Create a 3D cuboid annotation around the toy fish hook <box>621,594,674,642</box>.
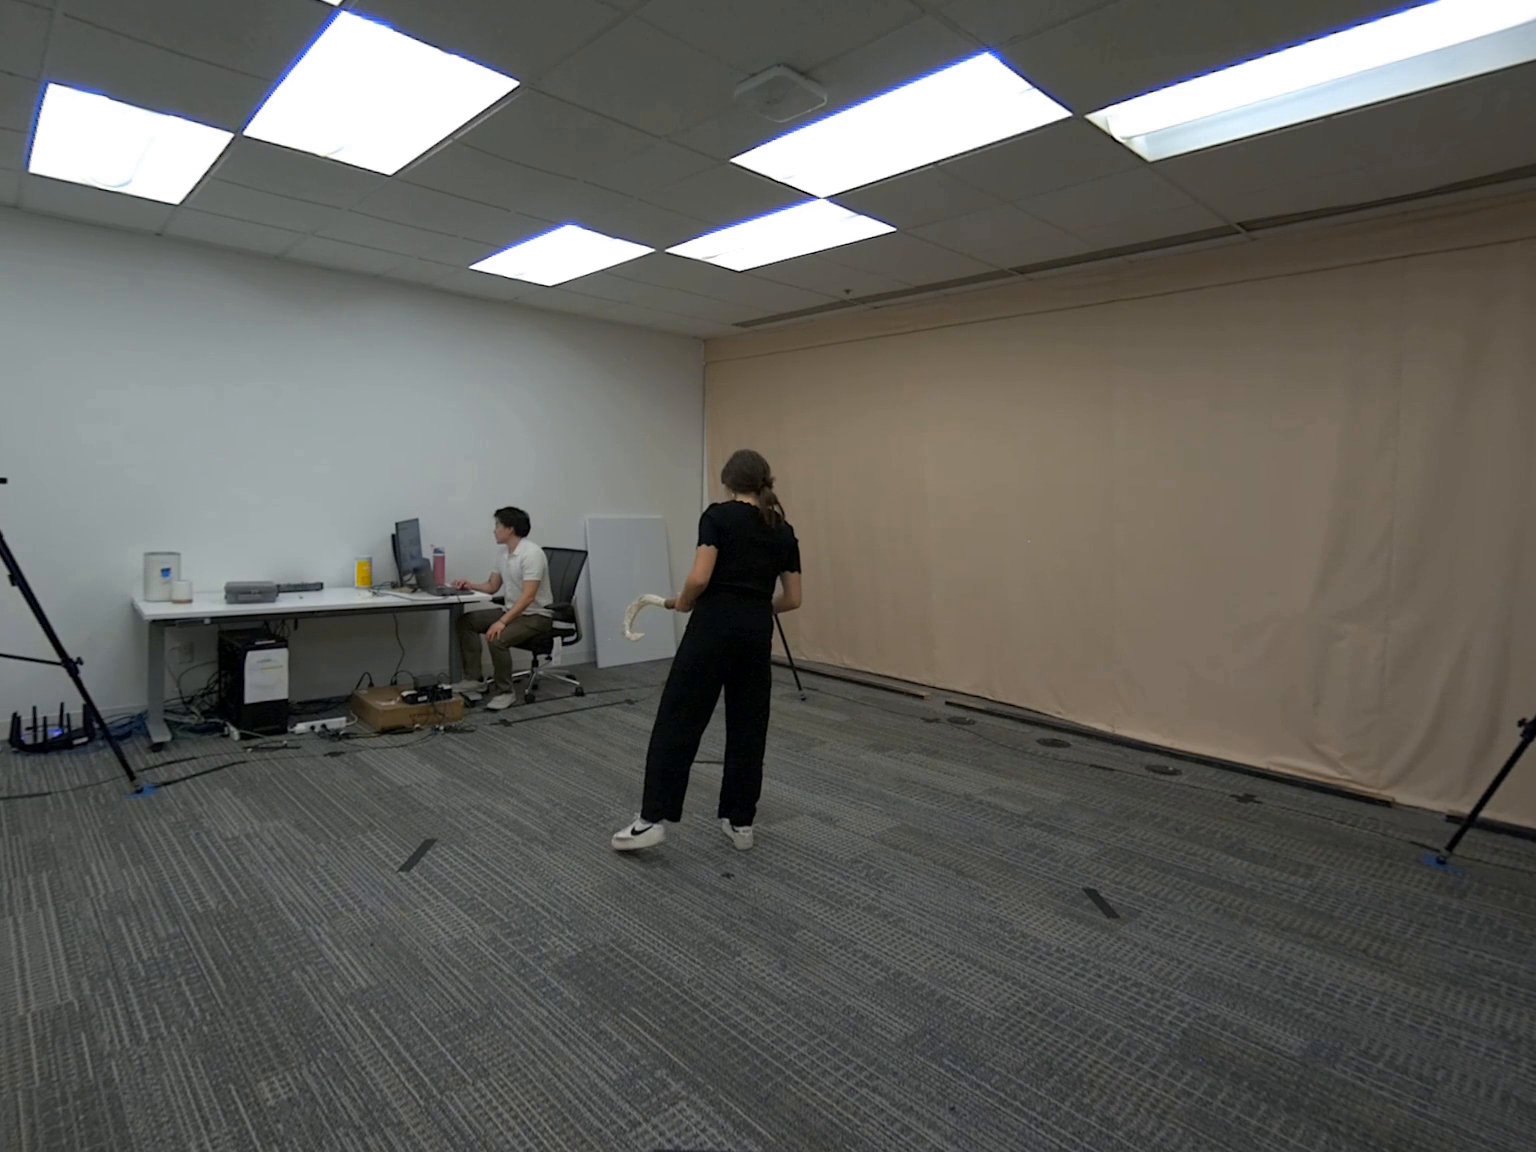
[{"bbox_3d":[-0.477,0.169,3.554,0.047,0.227,0.516,28,-24,-35],"label":"toy fish hook"}]
